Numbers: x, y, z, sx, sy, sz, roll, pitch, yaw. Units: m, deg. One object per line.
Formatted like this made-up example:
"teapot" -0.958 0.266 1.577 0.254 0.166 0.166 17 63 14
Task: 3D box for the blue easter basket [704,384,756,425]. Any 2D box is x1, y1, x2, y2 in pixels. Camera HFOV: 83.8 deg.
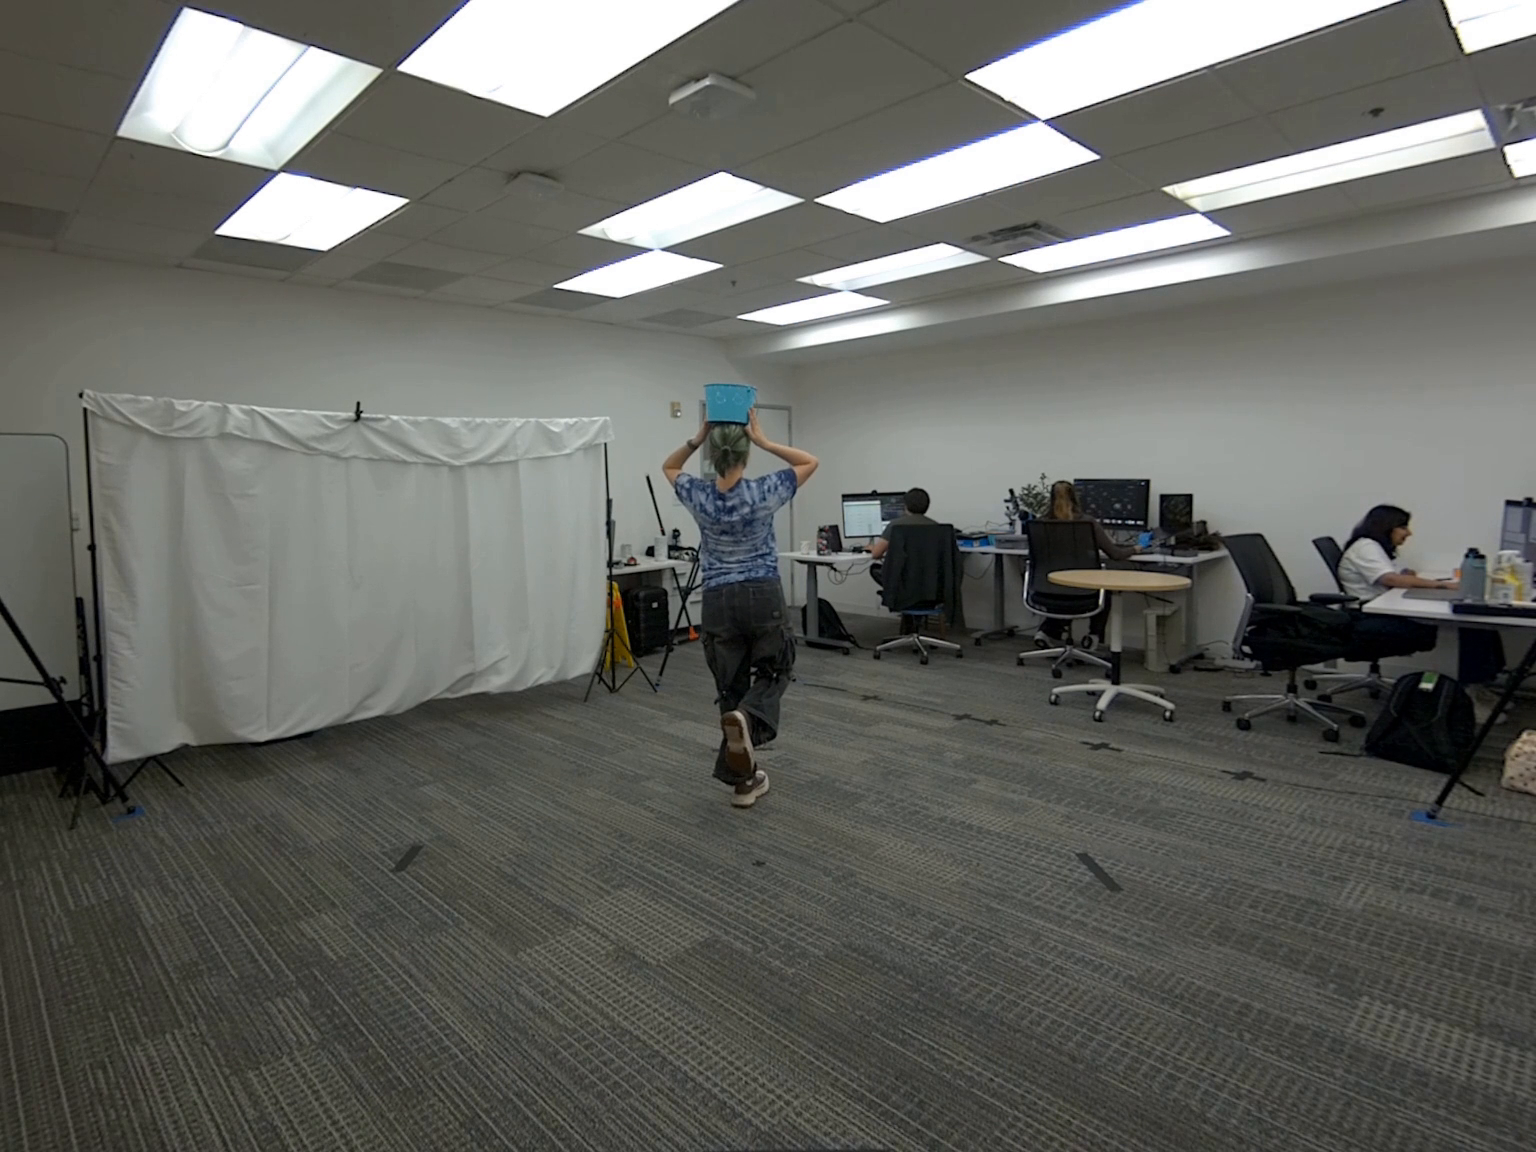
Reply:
"blue easter basket" -0.172 -0.732 3.665 0.243 0.156 0.244 4 2 -2
